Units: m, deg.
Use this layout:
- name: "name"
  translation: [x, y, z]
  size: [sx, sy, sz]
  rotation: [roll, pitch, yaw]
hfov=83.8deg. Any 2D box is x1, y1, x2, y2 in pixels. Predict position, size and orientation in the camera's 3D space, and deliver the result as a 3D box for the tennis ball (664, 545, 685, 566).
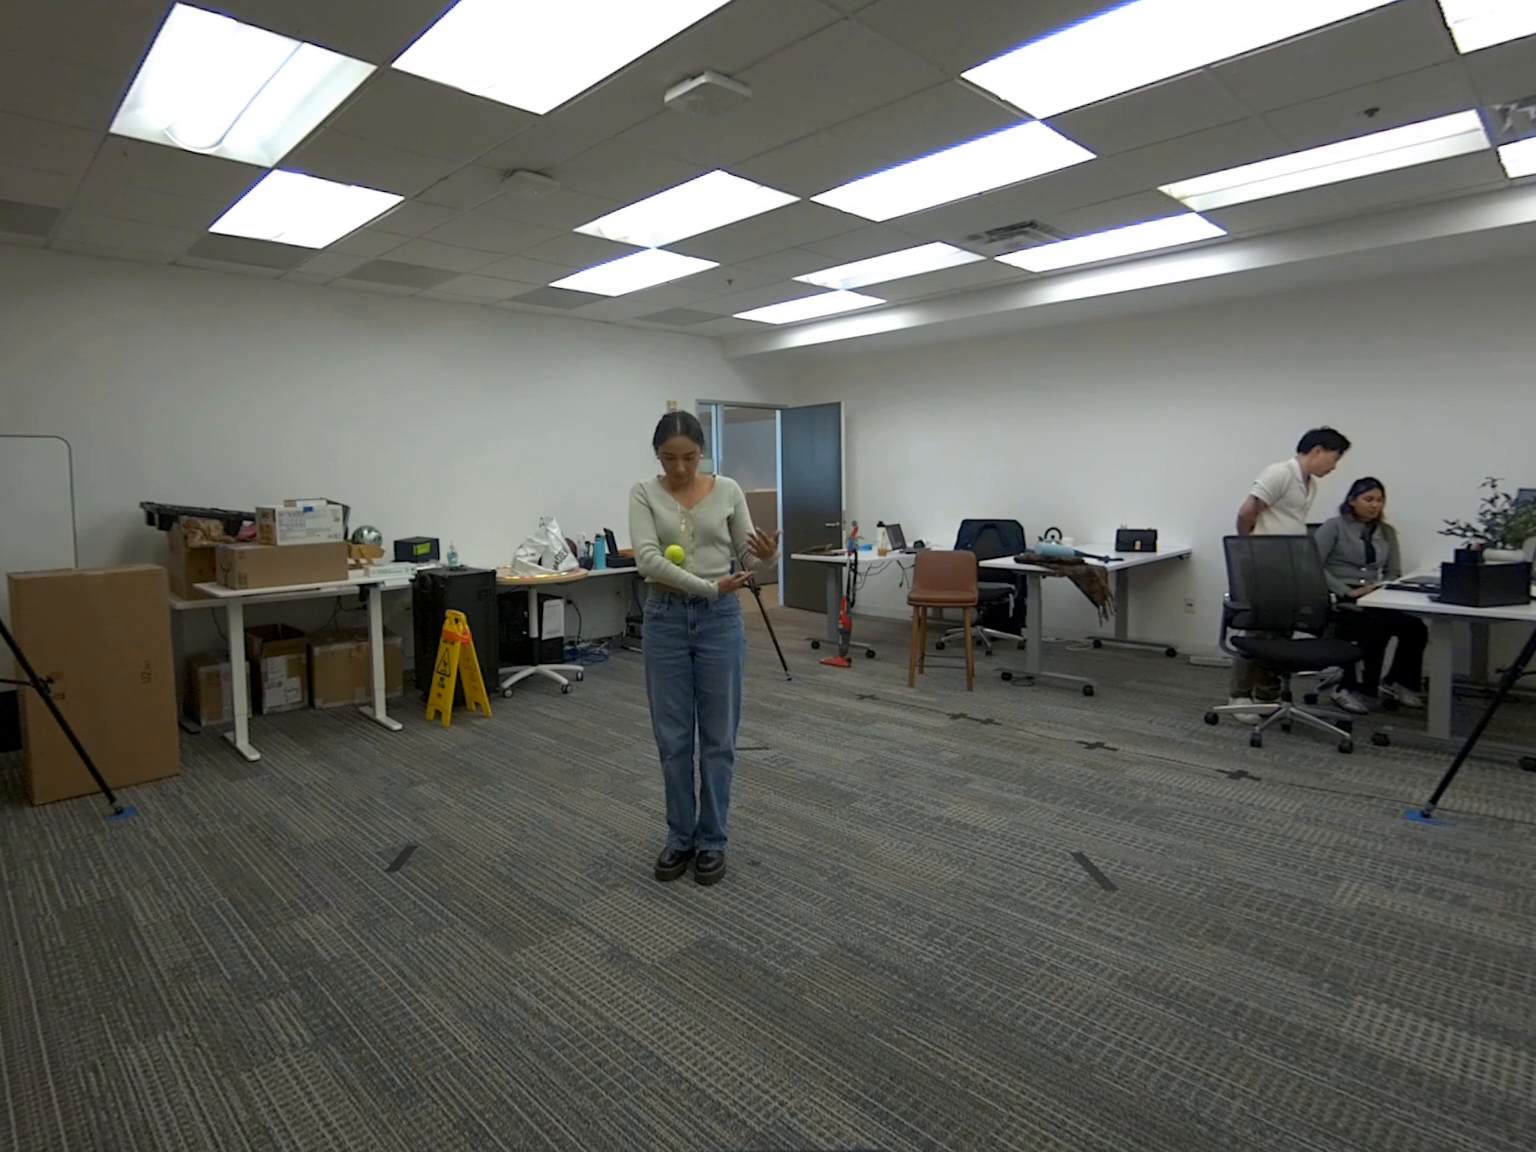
- name: "tennis ball"
  translation: [-0.320, -0.075, 2.943]
  size: [0.066, 0.066, 0.067]
  rotation: [-1, 5, -2]
